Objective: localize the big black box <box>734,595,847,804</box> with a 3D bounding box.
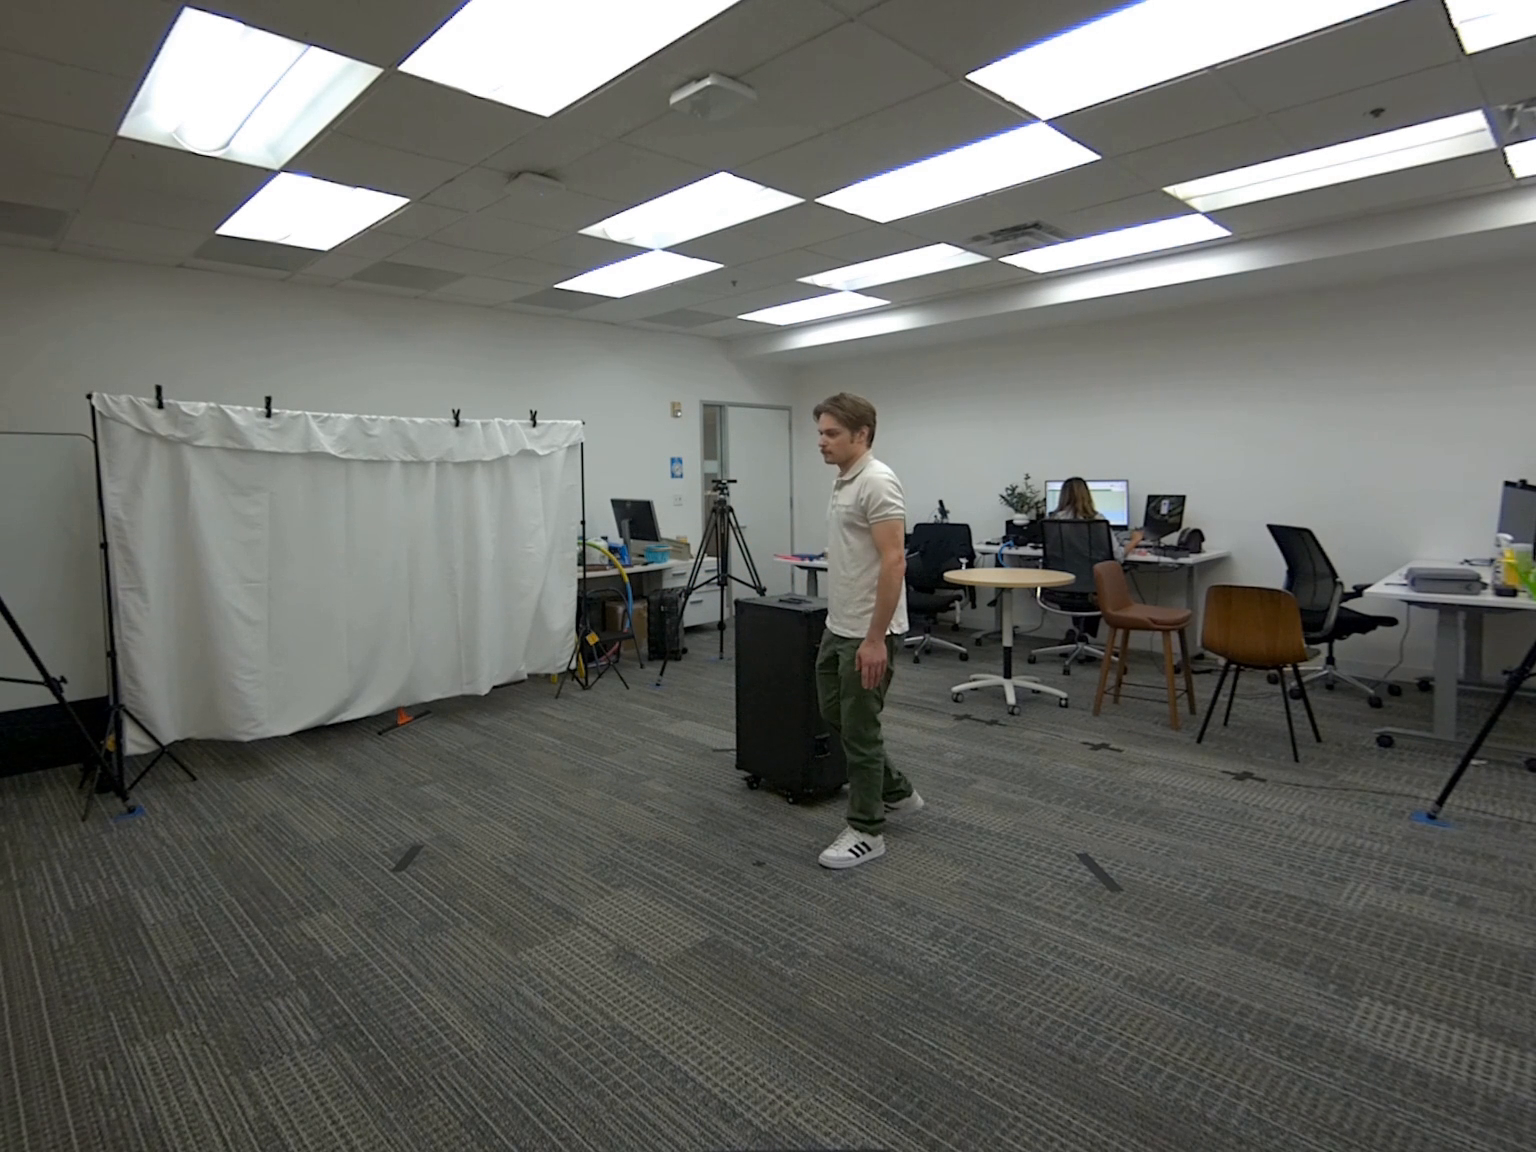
[{"bbox_3d":[0.134,0.539,3.847,0.375,0.865,0.539,-3,5,-41],"label":"big black box"}]
